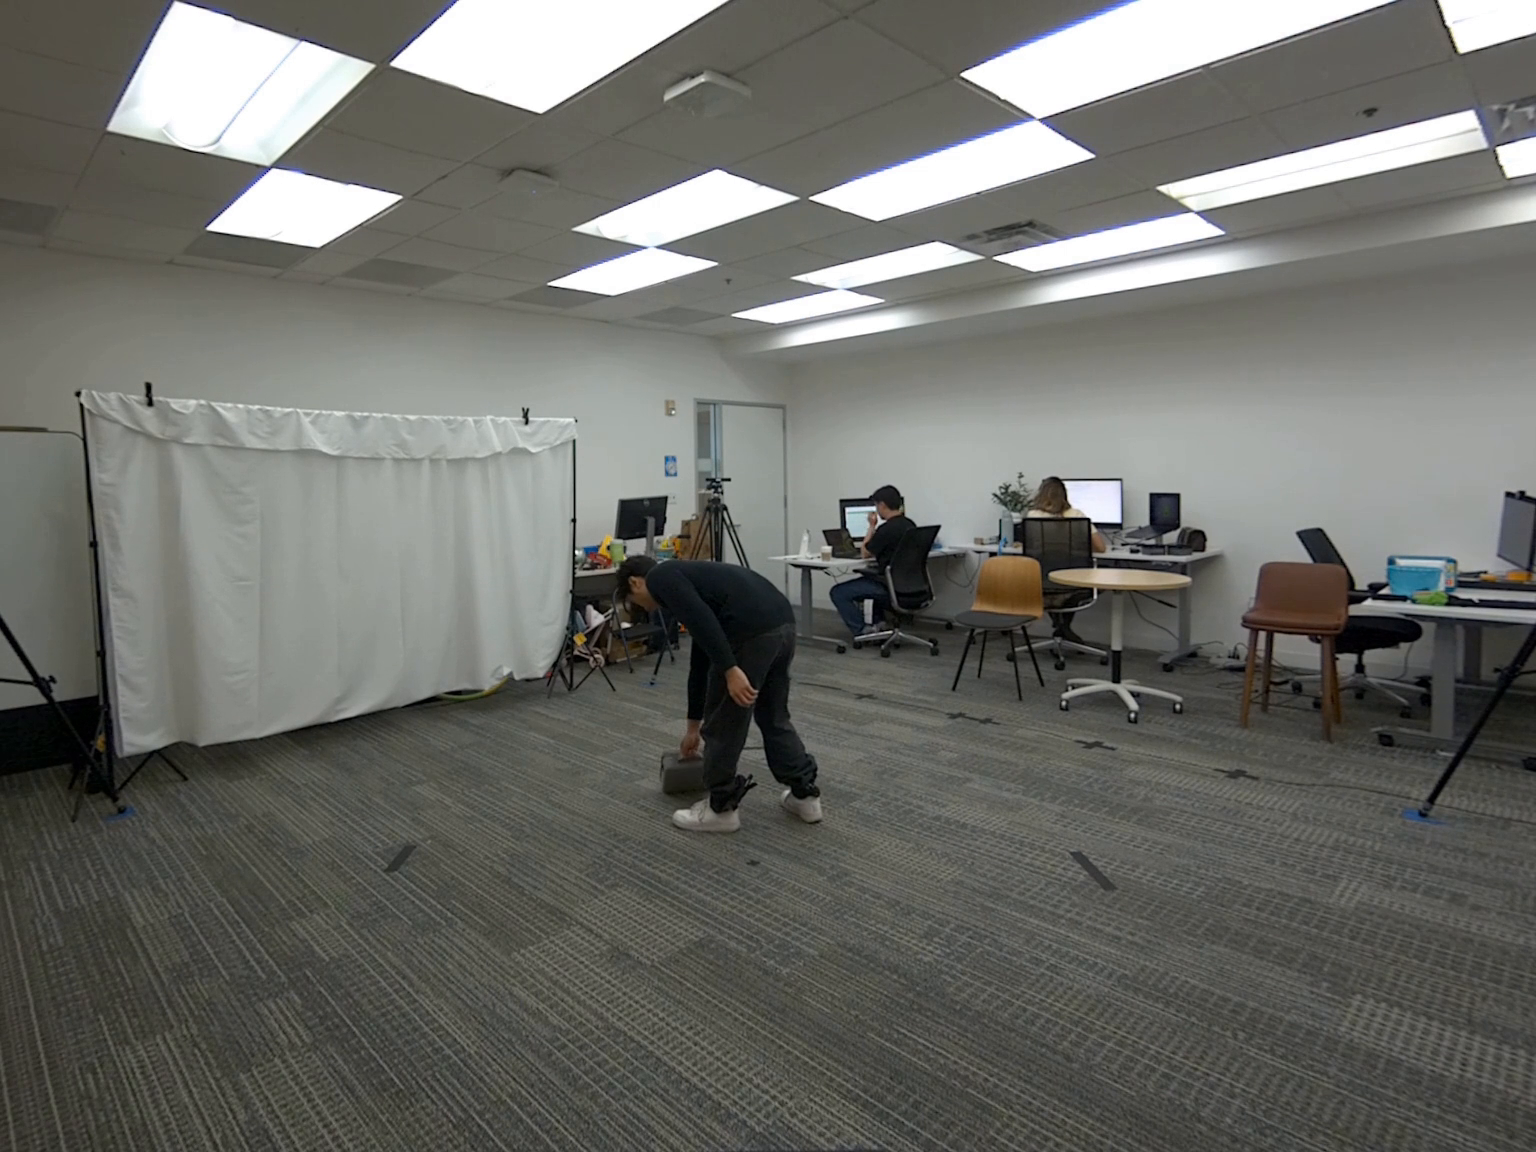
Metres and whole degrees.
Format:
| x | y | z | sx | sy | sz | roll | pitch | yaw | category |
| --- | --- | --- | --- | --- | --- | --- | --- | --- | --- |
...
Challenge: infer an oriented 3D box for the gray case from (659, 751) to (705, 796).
| x | y | z | sx | sy | sz | roll | pitch | yaw | category |
| --- | --- | --- | --- | --- | --- | --- | --- | --- | --- |
| -0.347 | 0.861 | 3.790 | 0.255 | 0.107 | 0.254 | -2 | -41 | -9 | gray case |
